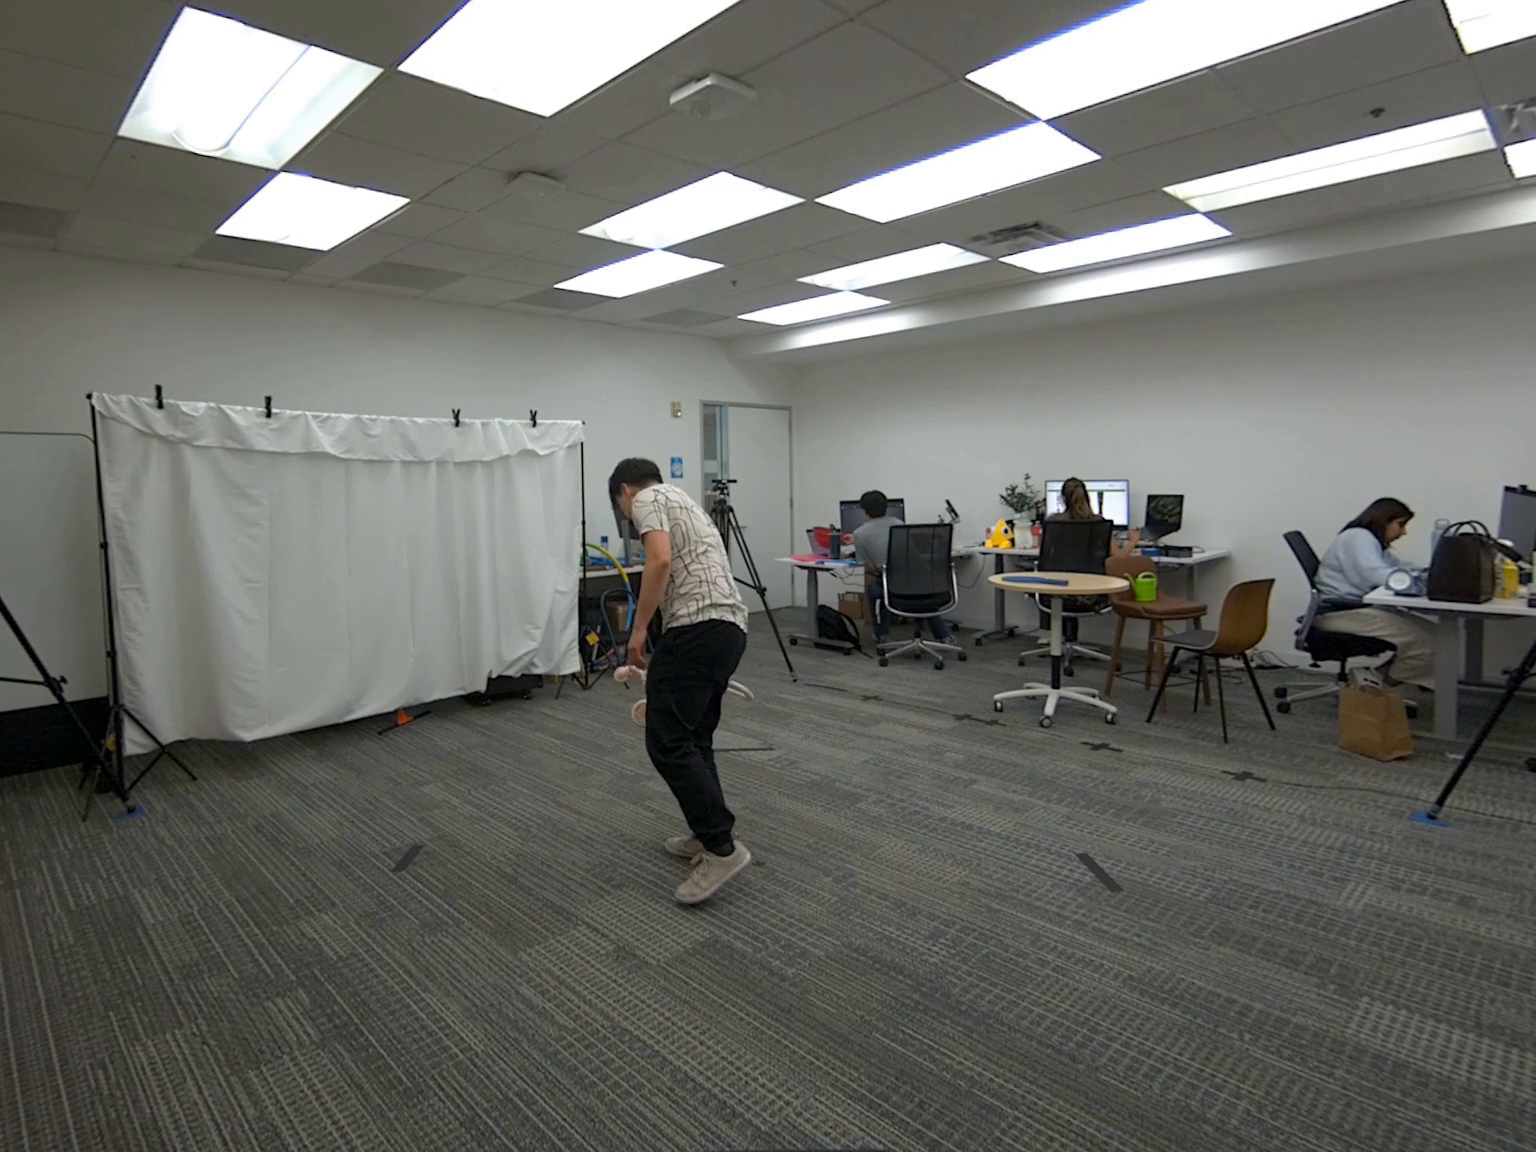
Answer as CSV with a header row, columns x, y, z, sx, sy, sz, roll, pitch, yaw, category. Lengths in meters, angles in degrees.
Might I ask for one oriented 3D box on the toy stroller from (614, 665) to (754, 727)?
x,y,z,sx,sy,sz,roll,pitch,yaw,category
-0.359,0.442,3.546,0.537,0.352,0.272,-24,-30,6,toy stroller
